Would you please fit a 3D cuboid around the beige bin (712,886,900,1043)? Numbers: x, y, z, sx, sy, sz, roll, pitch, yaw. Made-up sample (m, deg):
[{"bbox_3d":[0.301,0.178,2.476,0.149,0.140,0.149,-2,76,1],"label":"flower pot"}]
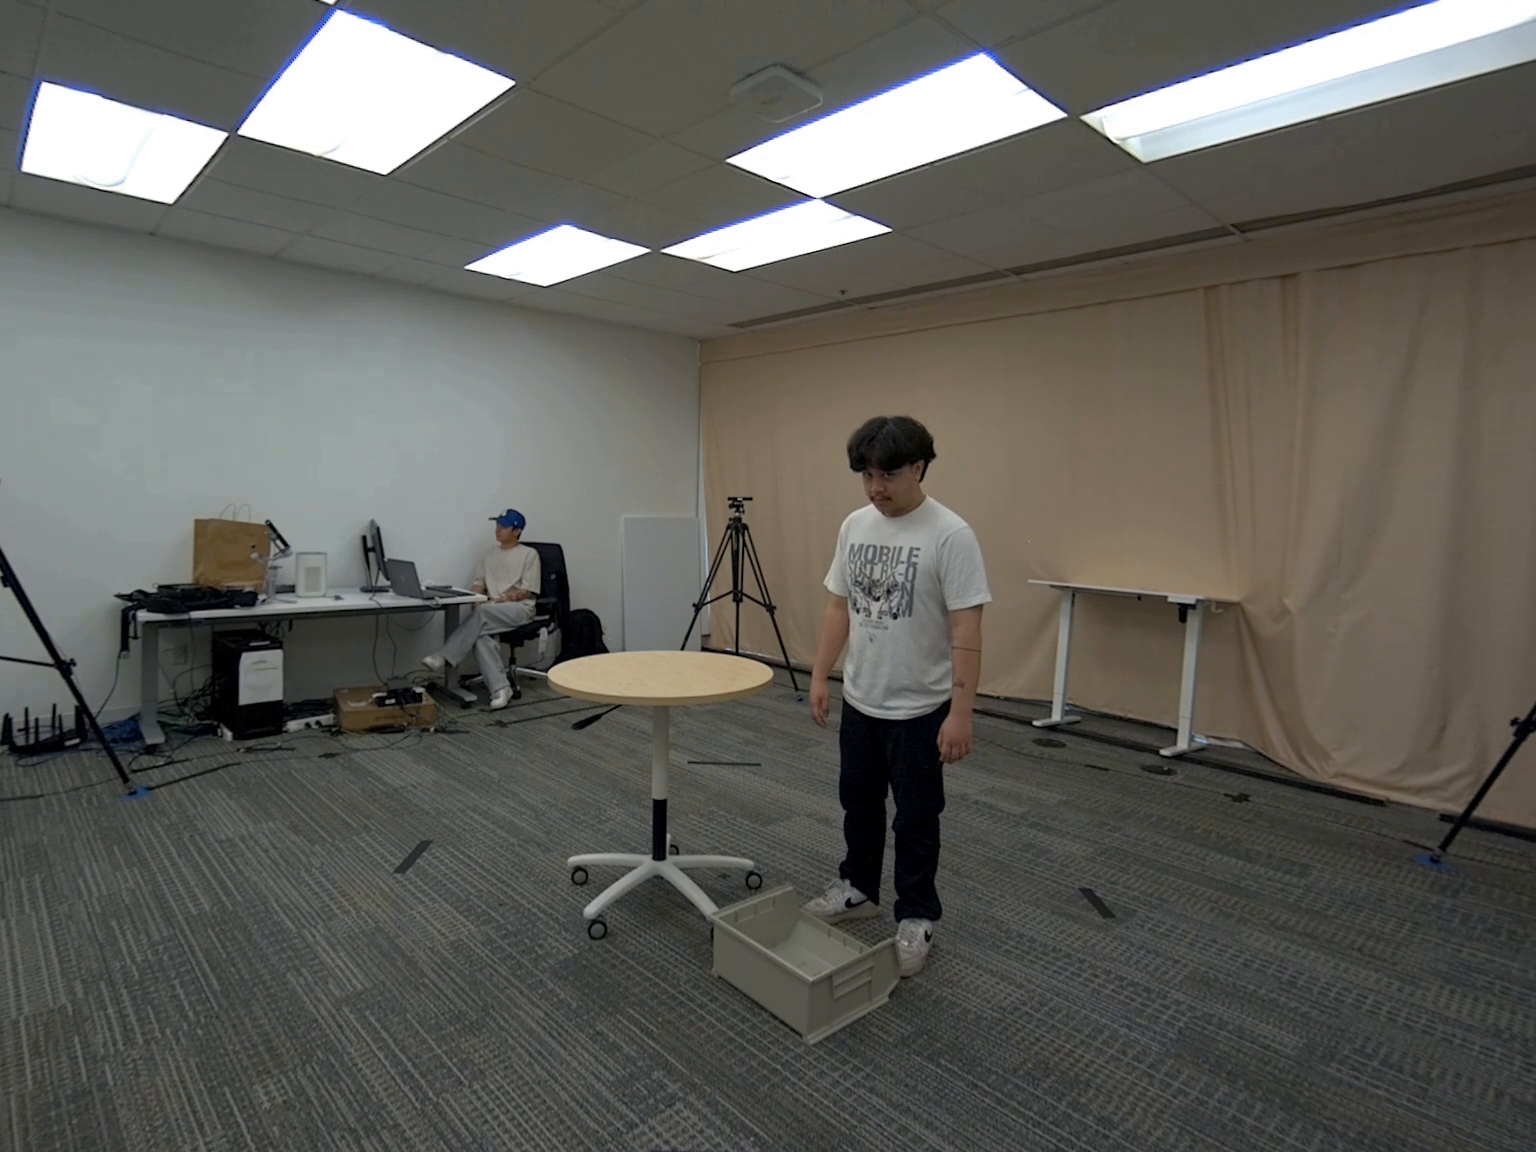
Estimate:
[{"bbox_3d":[0.097,1.088,2.413,0.369,0.188,0.433,-4,8,-42],"label":"beige bin"}]
